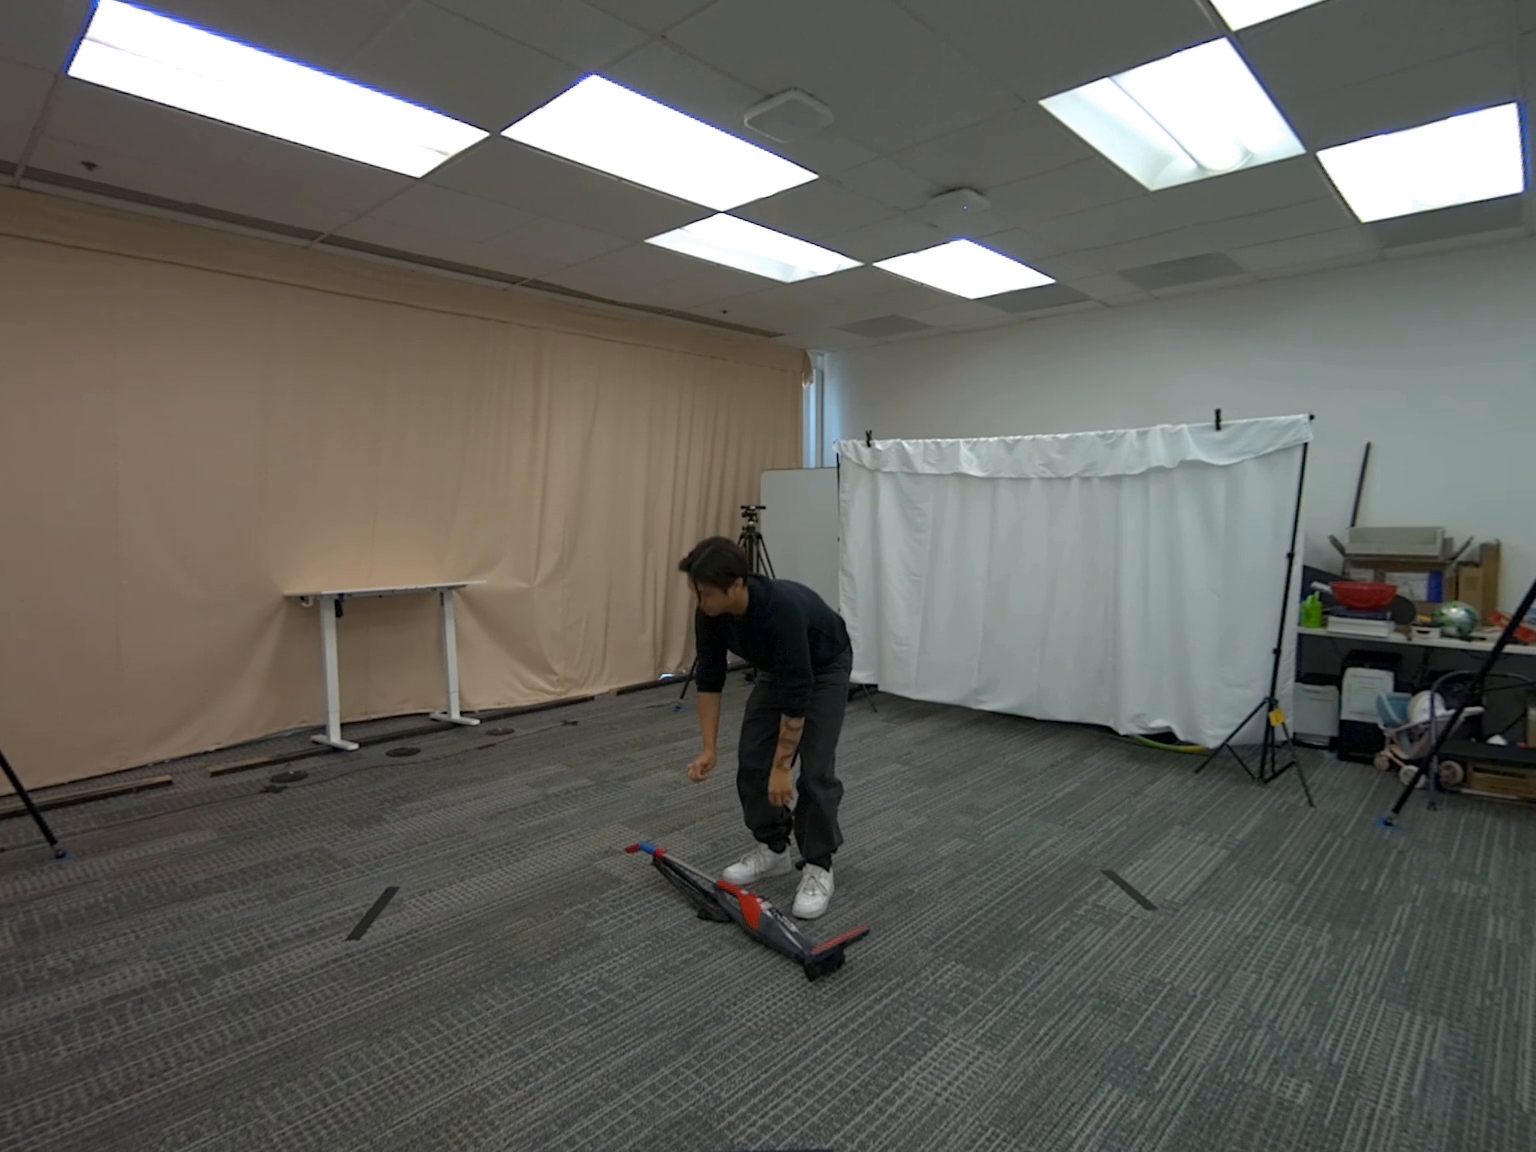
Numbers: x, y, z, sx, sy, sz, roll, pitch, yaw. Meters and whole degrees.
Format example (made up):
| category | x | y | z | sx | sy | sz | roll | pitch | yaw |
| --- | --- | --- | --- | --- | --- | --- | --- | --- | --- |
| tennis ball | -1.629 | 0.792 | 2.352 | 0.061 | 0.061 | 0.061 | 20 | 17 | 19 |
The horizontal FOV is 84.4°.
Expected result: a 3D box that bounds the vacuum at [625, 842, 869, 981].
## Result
| category | x | y | z | sx | sy | sz | roll | pitch | yaw |
| --- | --- | --- | --- | --- | --- | --- | --- | --- | --- |
| vacuum | -0.181 | 1.090 | 2.866 | 0.244 | 0.144 | 1.084 | 2 | 2 | -44 |
